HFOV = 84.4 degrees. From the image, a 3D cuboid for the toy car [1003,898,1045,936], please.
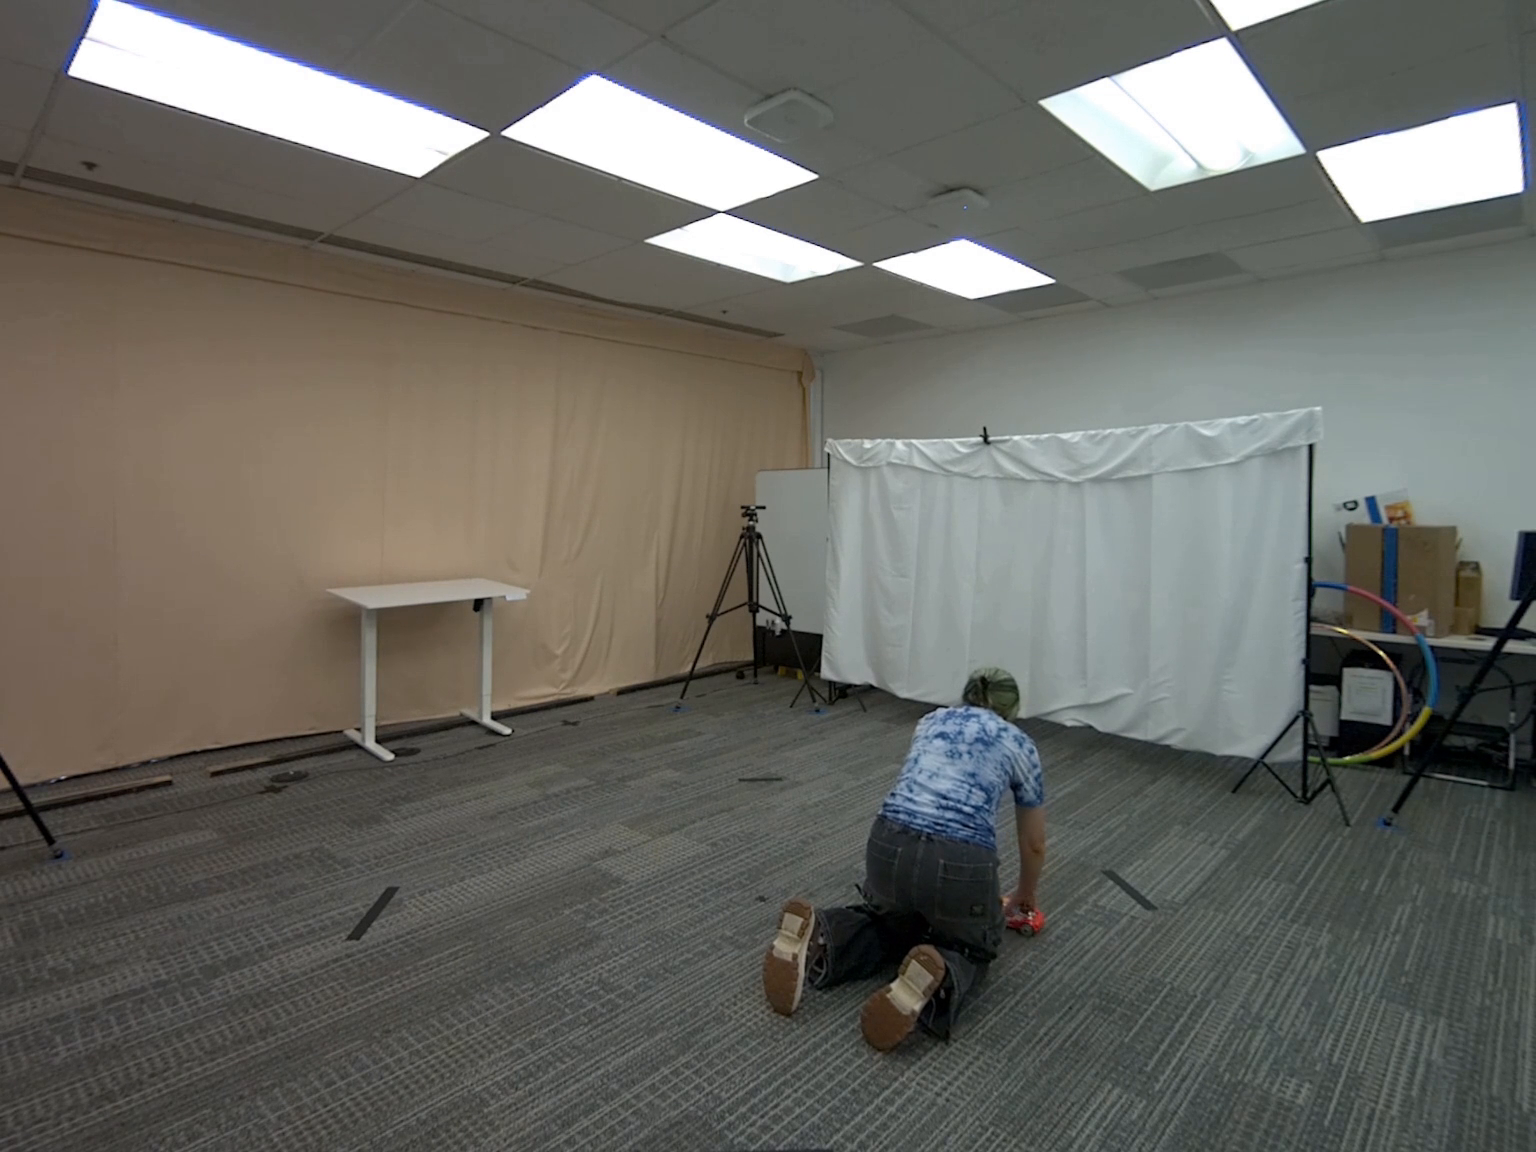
[{"bbox_3d":[0.790,1.127,2.811,0.263,0.083,0.126,15,12,34],"label":"toy car"}]
